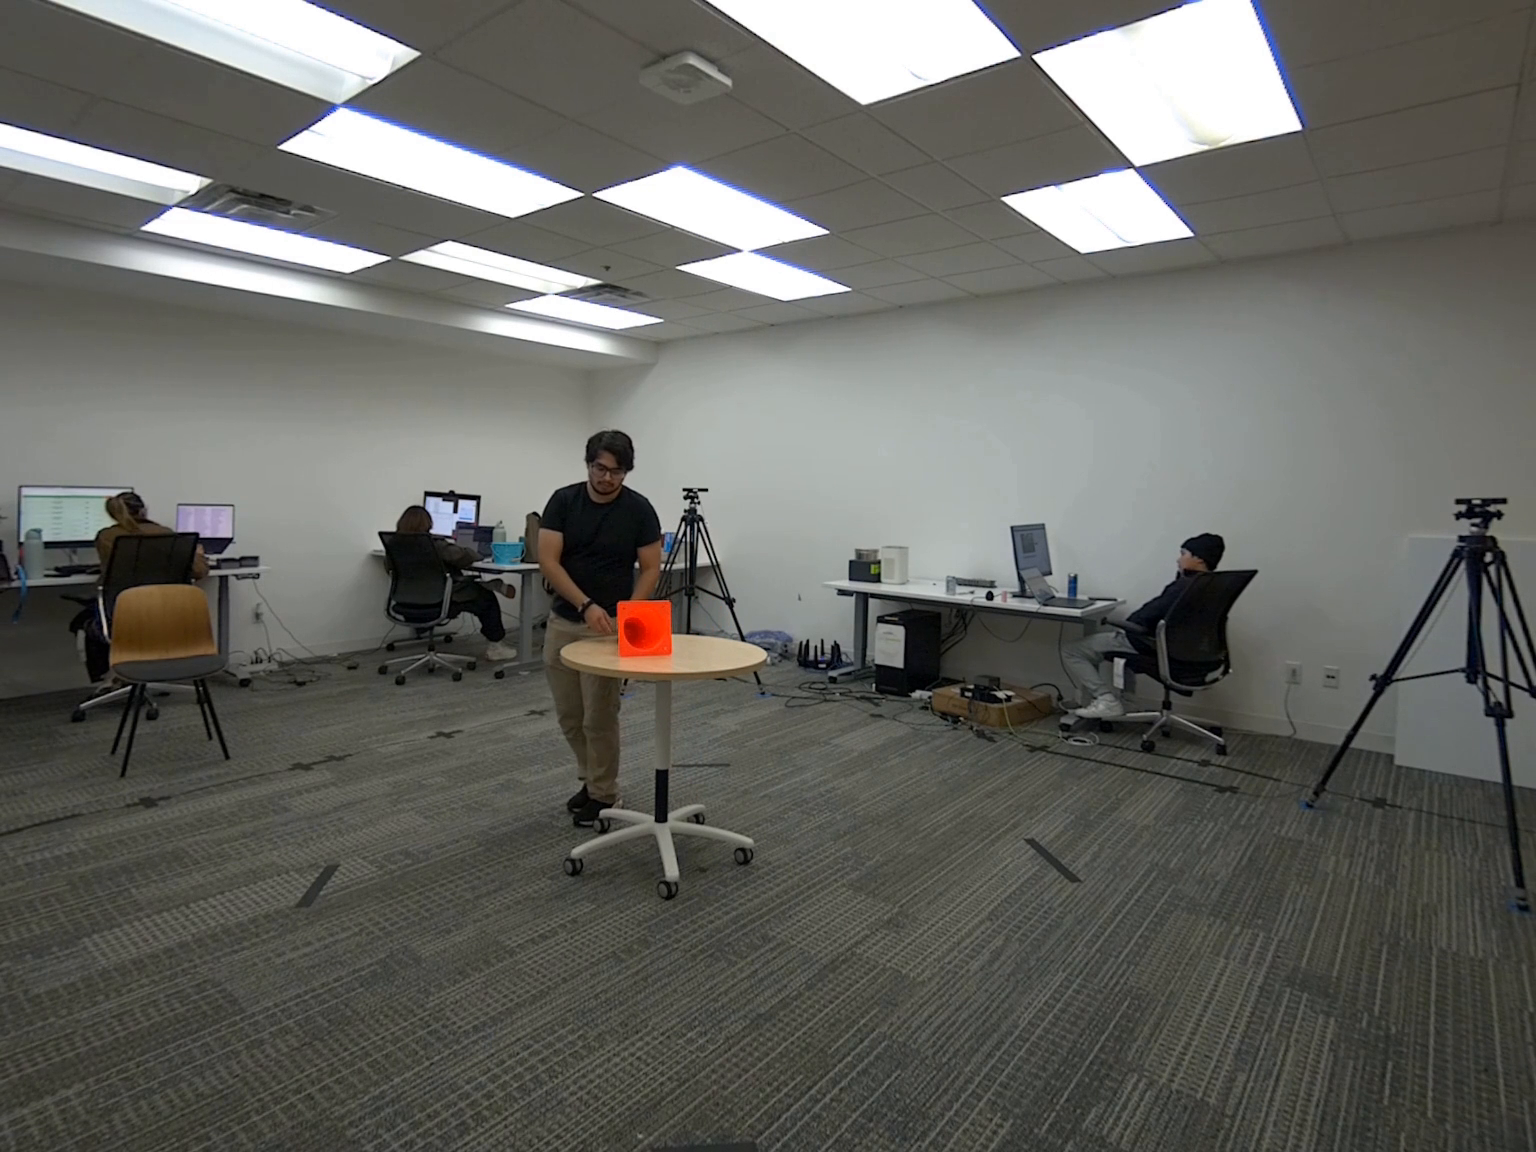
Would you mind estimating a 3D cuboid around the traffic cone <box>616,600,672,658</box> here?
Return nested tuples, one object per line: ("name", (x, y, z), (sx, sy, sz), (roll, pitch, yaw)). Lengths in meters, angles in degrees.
("traffic cone", (-0.524, 0.209, 3.246), (0.201, 0.205, 0.387), (1, -8, -19))
